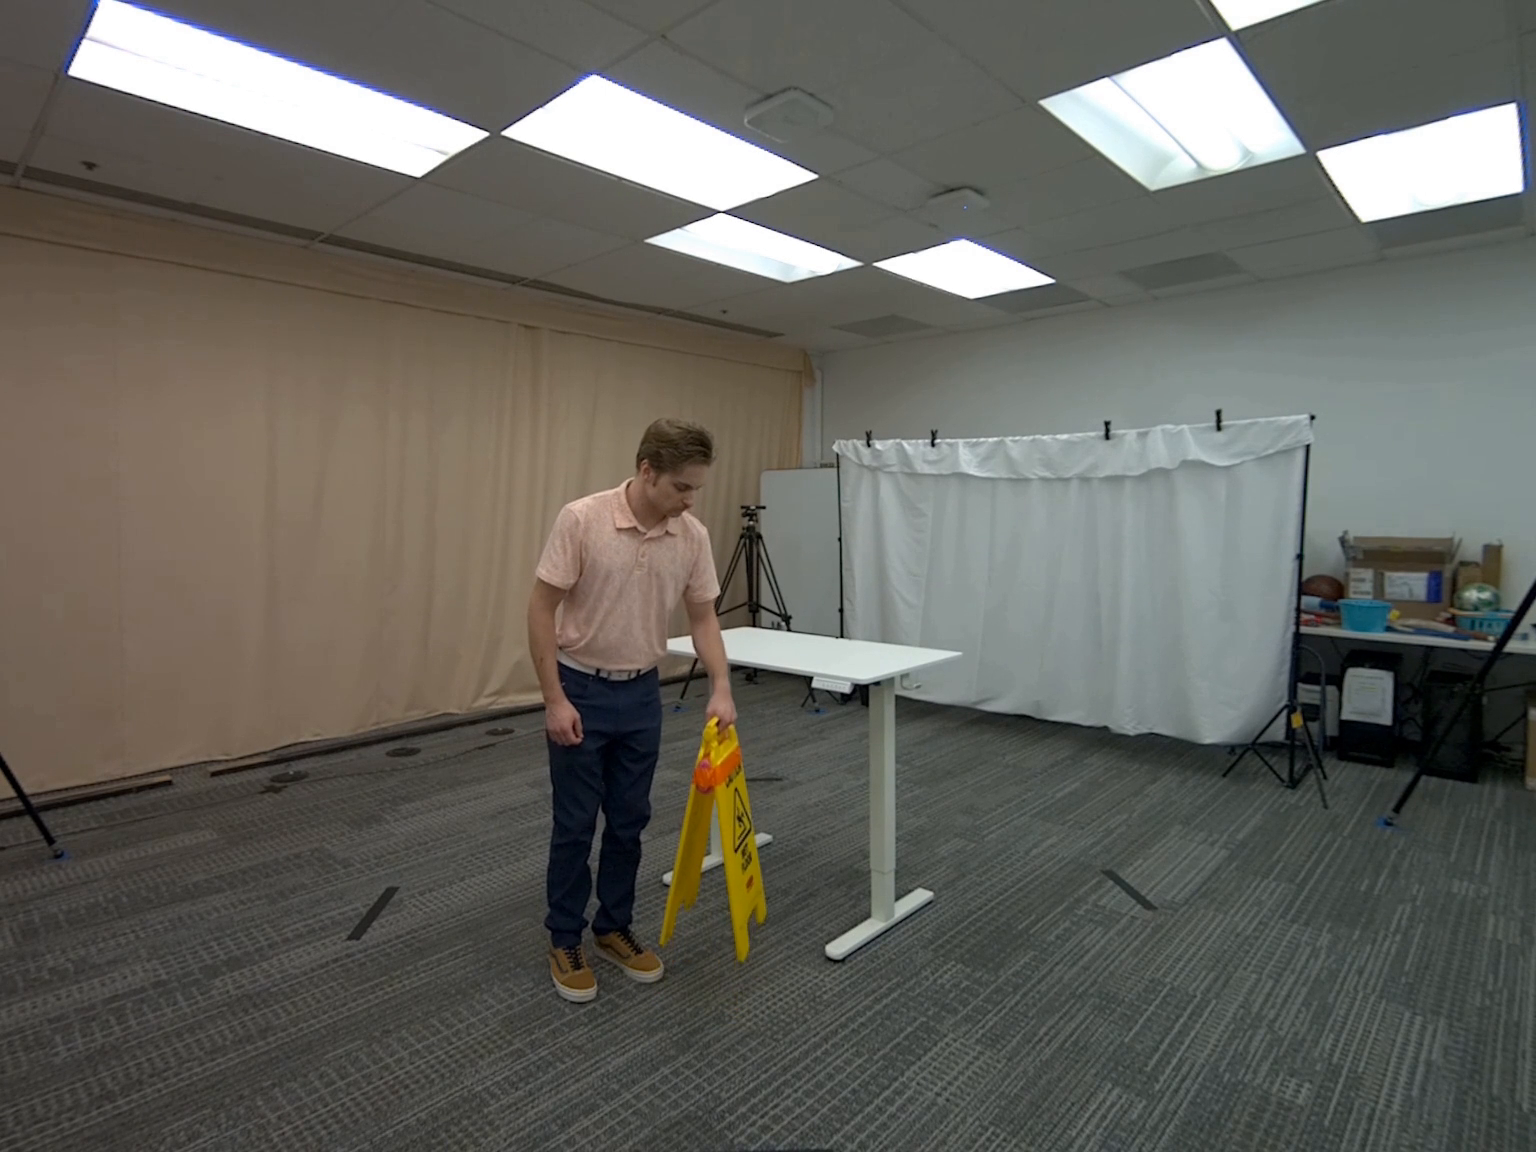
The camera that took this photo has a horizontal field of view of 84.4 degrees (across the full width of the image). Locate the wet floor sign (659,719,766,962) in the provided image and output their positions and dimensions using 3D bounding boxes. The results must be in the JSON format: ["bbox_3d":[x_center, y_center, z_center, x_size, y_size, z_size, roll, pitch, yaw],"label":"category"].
[{"bbox_3d":[-0.154,0.730,2.430,0.295,0.645,0.278,3,3,15],"label":"wet floor sign"}]
